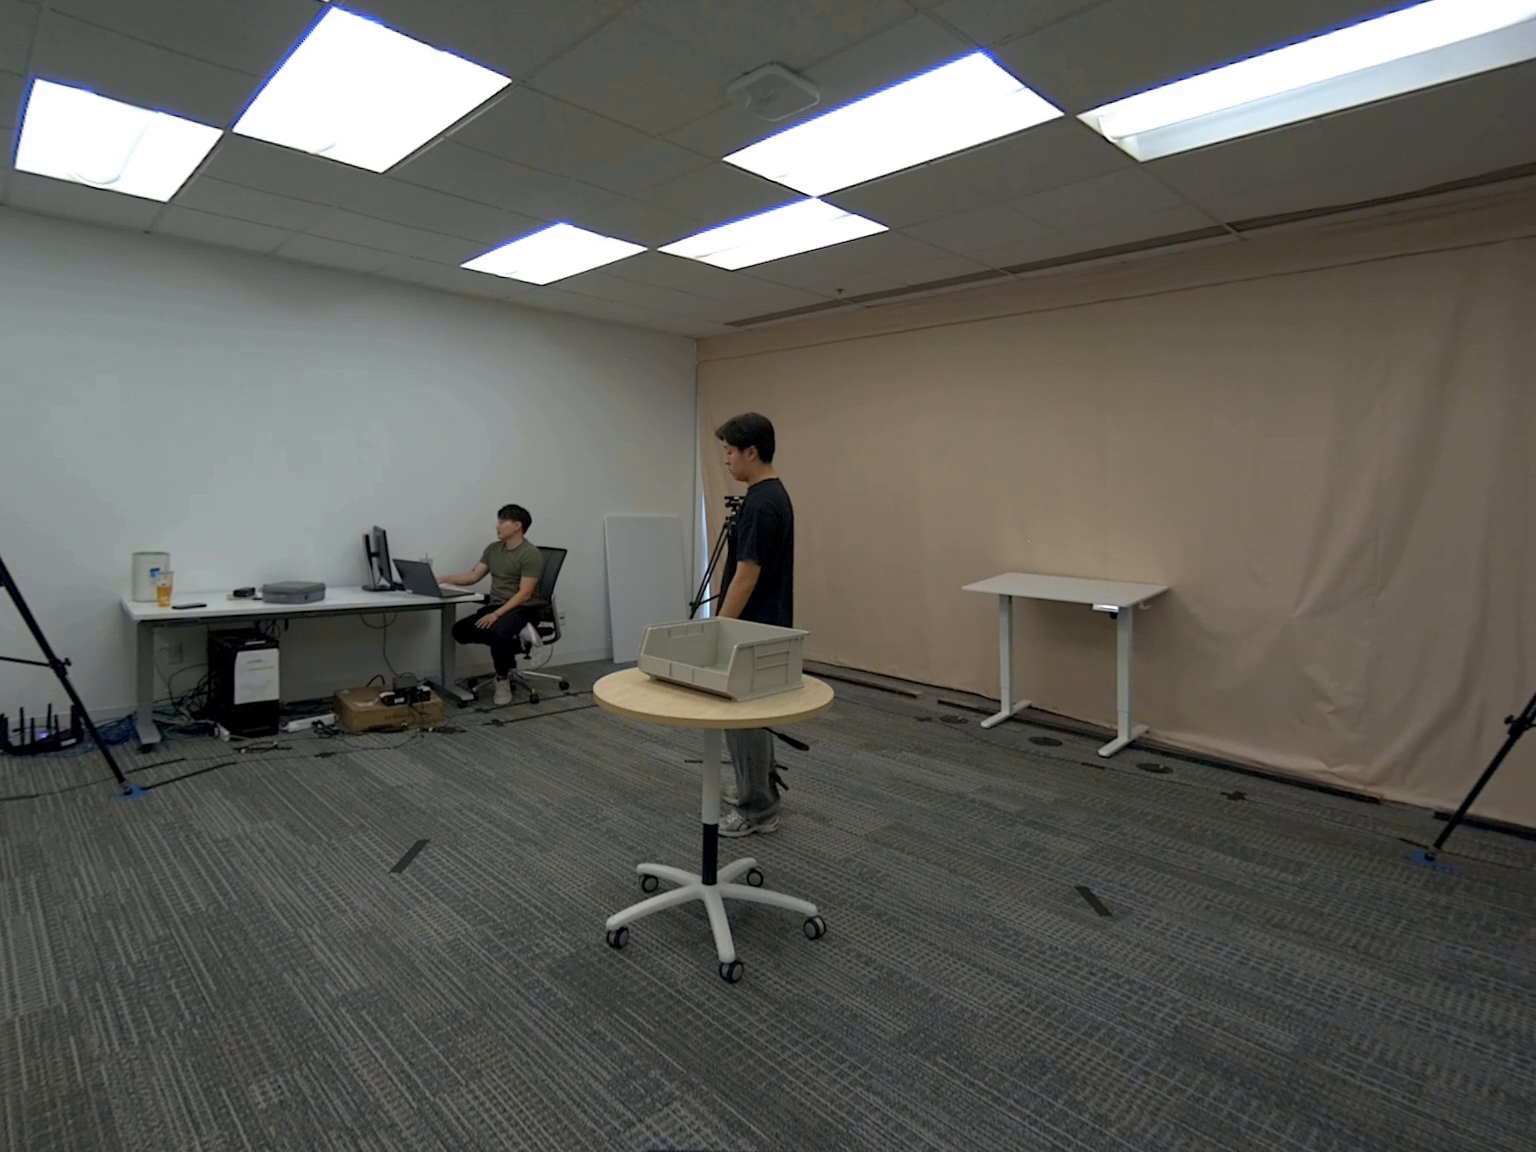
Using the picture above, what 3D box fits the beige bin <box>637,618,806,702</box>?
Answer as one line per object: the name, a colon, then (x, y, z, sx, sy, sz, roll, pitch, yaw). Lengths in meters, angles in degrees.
beige bin: (-0.155, 0.266, 2.735, 0.433, 0.188, 0.368, 5, 5, 43)
